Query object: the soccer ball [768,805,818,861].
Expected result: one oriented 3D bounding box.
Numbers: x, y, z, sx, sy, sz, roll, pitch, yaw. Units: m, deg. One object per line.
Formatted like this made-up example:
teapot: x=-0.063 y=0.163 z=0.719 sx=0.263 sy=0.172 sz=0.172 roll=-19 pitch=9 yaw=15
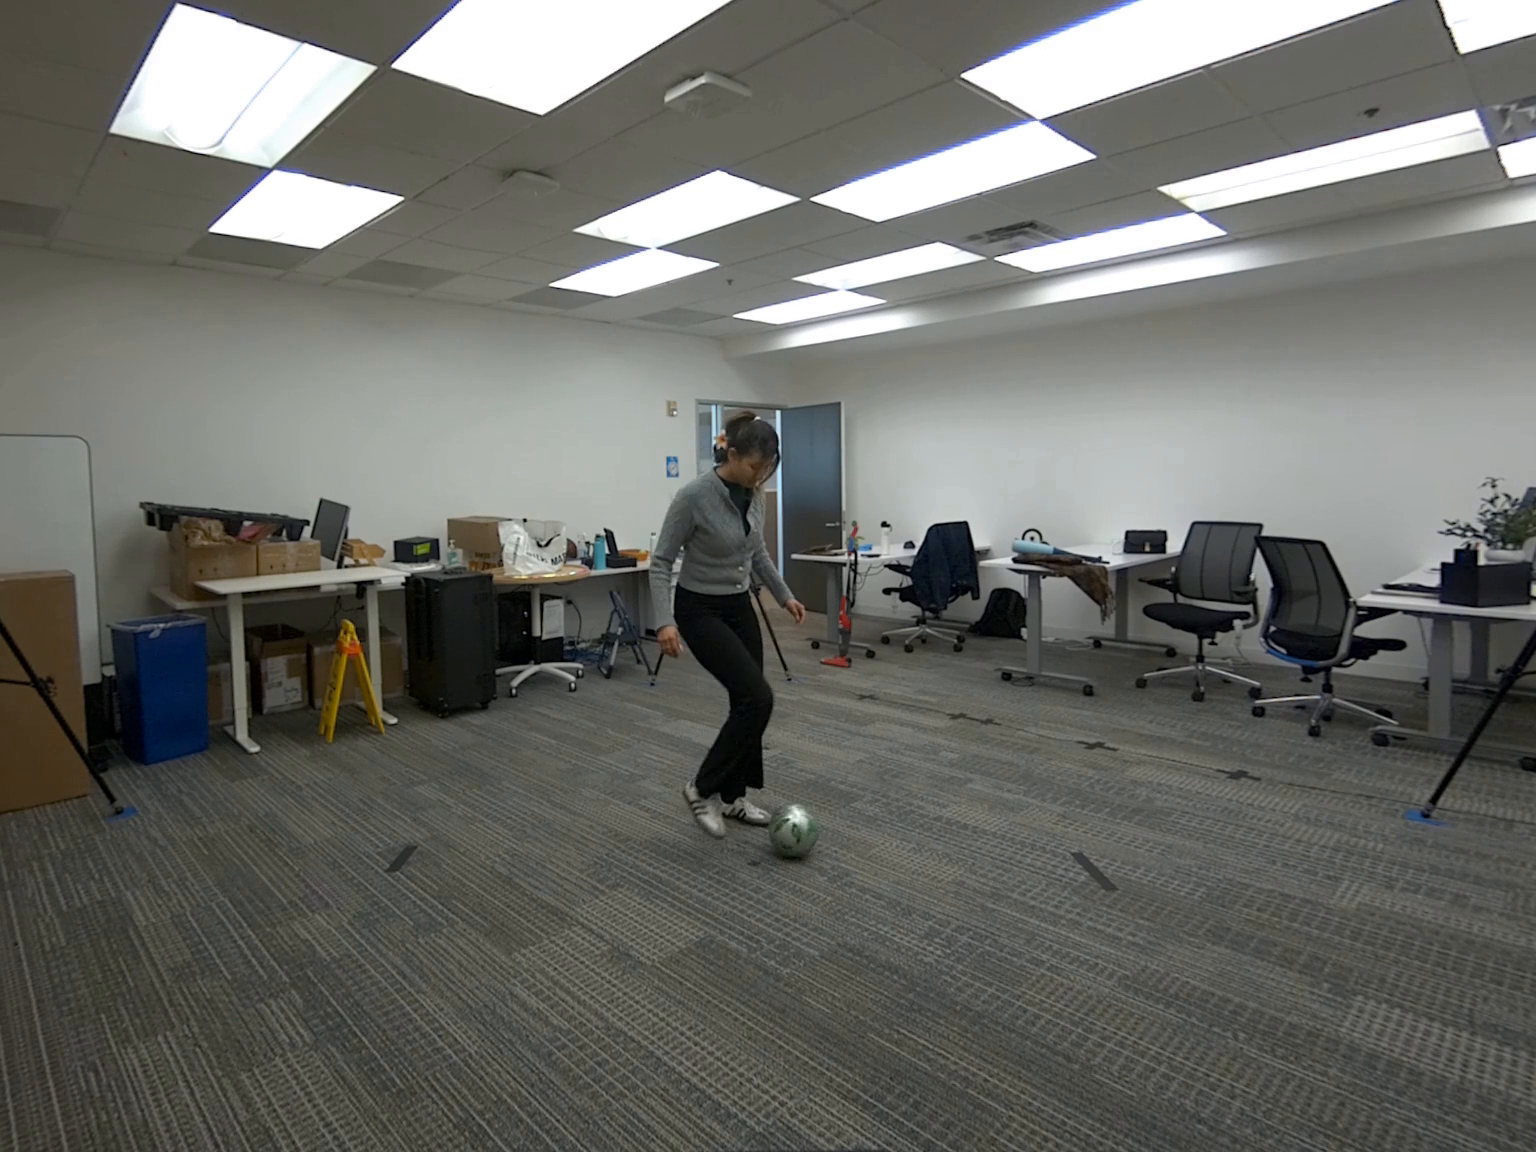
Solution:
soccer ball: x=0.087 y=0.940 z=3.158 sx=0.187 sy=0.187 sz=0.188 roll=-1 pitch=5 yaw=-2
